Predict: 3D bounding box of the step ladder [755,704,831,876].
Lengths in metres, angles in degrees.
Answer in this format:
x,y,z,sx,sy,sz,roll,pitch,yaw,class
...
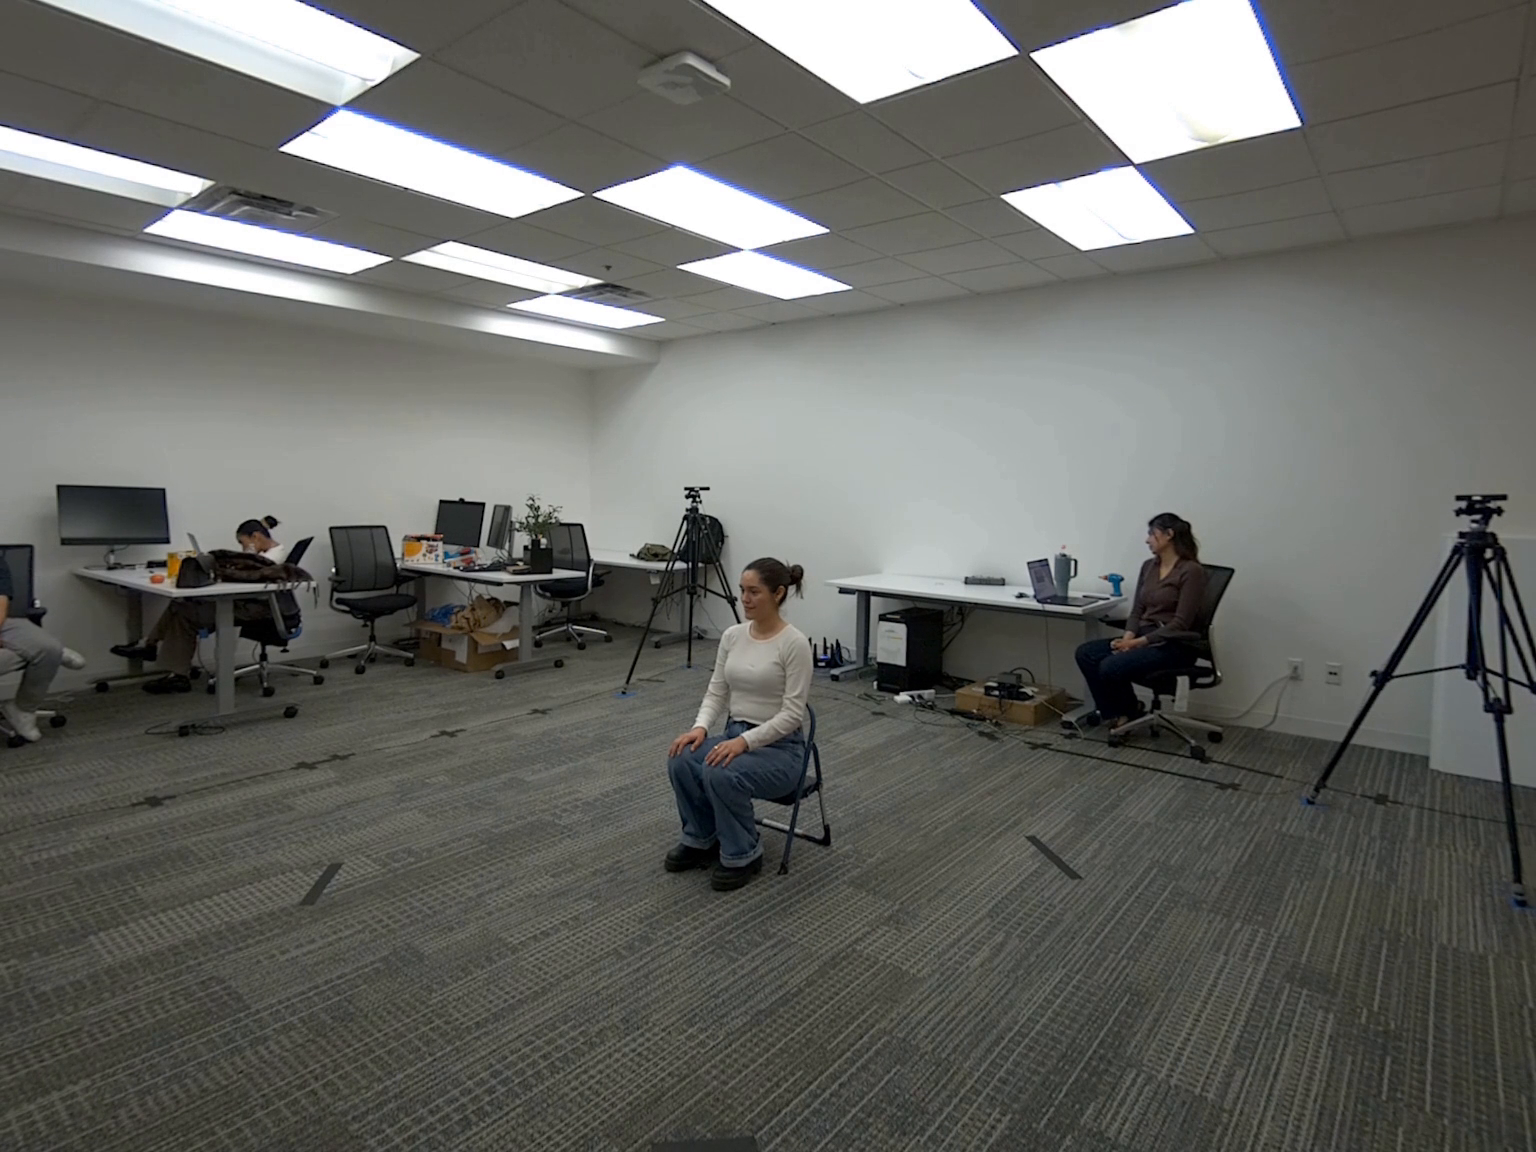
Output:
x,y,z,sx,sy,sz,roll,pitch,yaw,class
-0.014,0.742,3.317,0.445,0.604,0.339,4,5,37,step ladder
